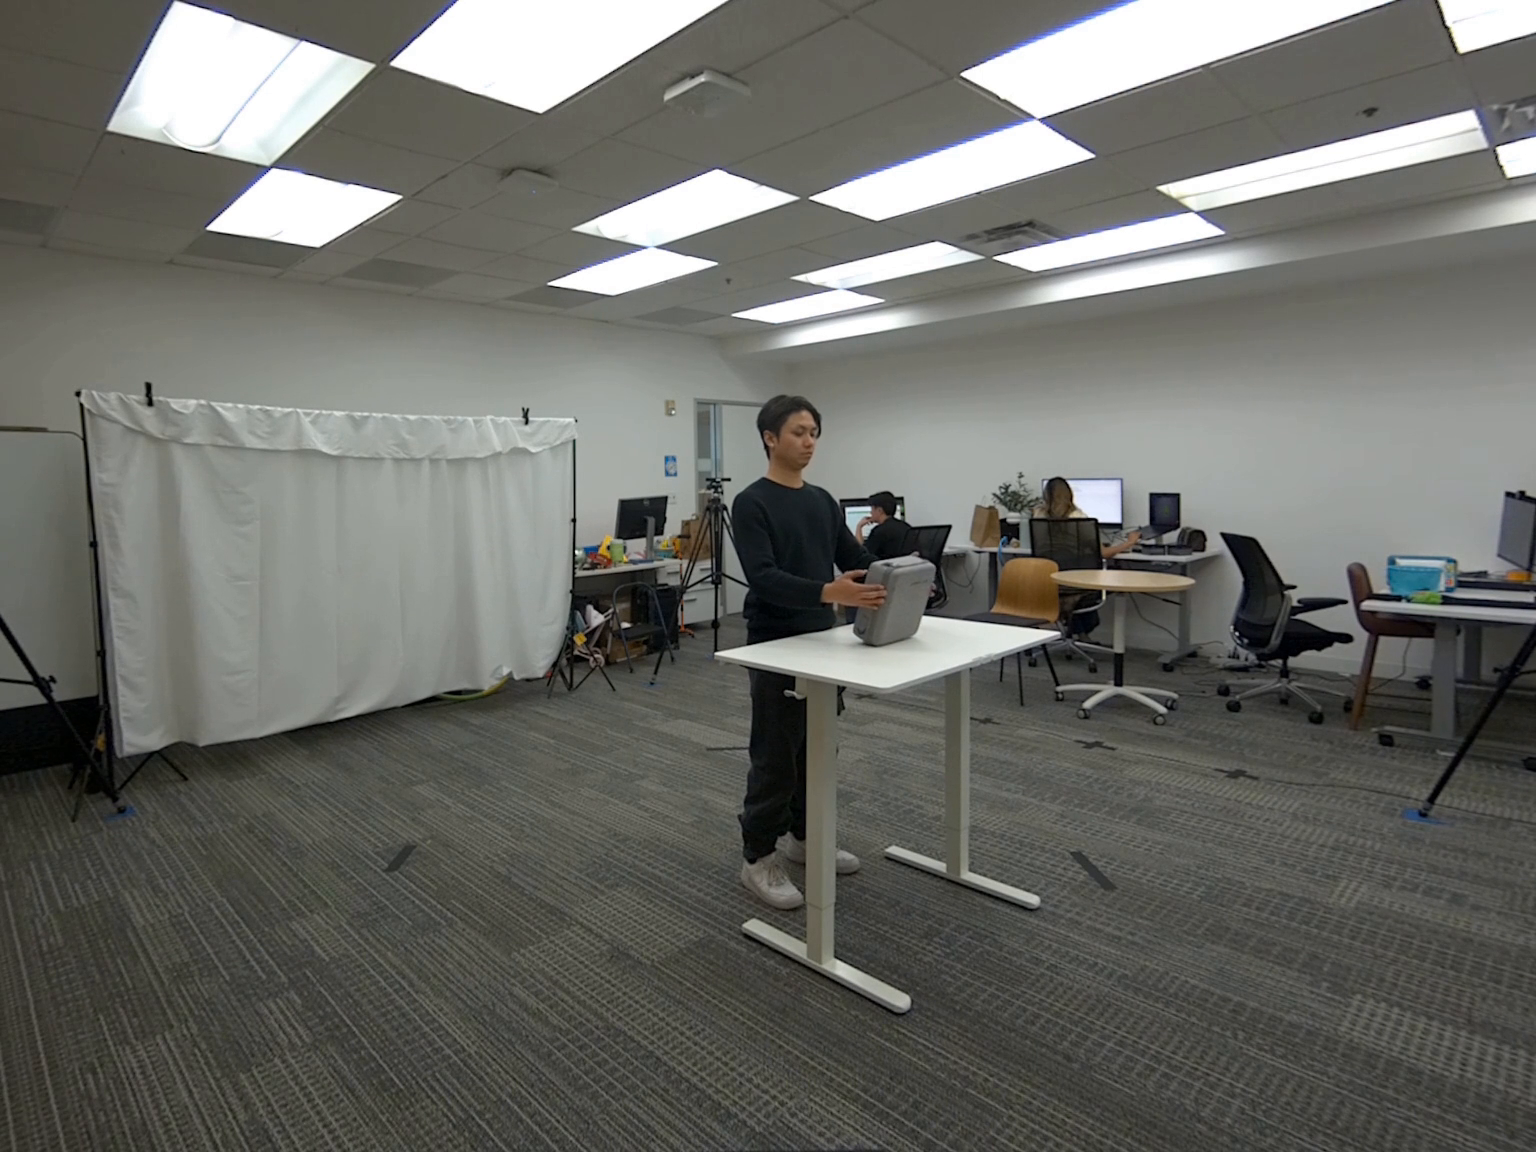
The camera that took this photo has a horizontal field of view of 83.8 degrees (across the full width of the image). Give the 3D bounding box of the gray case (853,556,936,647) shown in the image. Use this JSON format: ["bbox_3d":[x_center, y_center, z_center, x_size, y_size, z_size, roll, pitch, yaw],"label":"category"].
[{"bbox_3d":[0.390,0.076,2.646,0.108,0.258,0.250,22,19,36],"label":"gray case"}]
